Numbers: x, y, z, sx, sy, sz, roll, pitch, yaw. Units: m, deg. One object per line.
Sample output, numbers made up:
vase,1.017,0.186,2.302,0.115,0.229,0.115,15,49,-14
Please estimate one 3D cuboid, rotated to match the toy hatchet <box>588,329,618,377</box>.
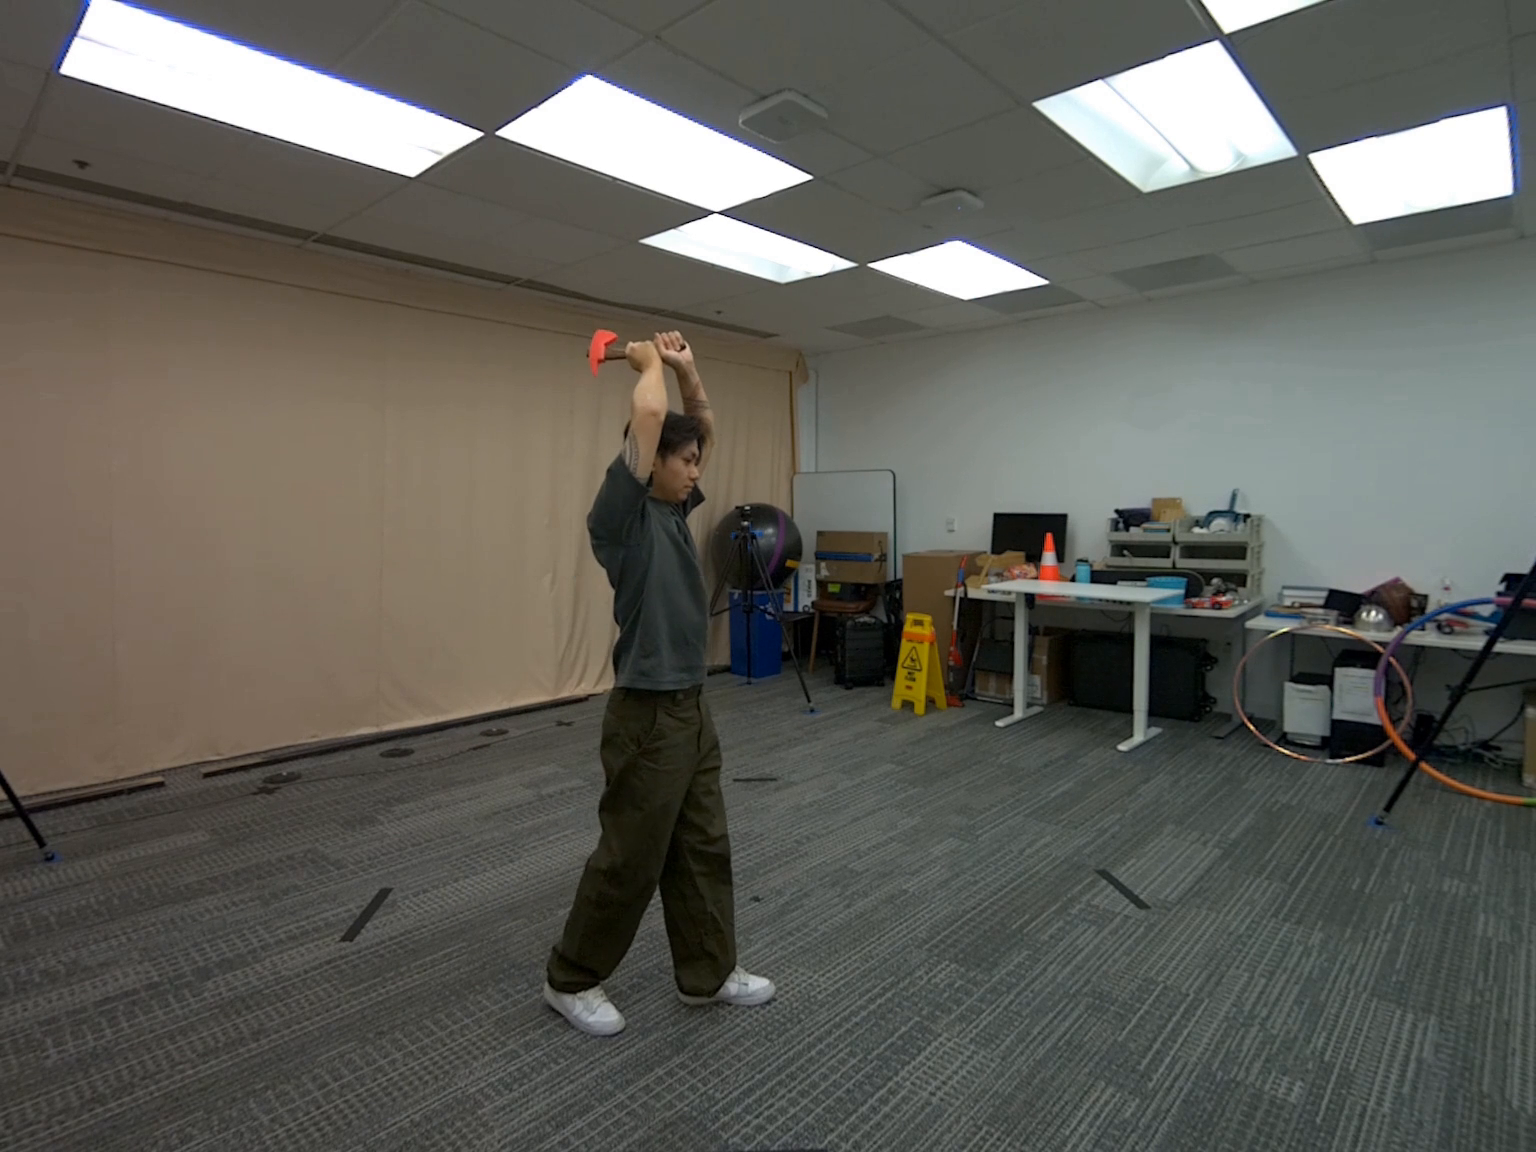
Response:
toy hatchet,-0.361,-0.645,2.282,0.271,0.133,0.029,-18,-13,6
